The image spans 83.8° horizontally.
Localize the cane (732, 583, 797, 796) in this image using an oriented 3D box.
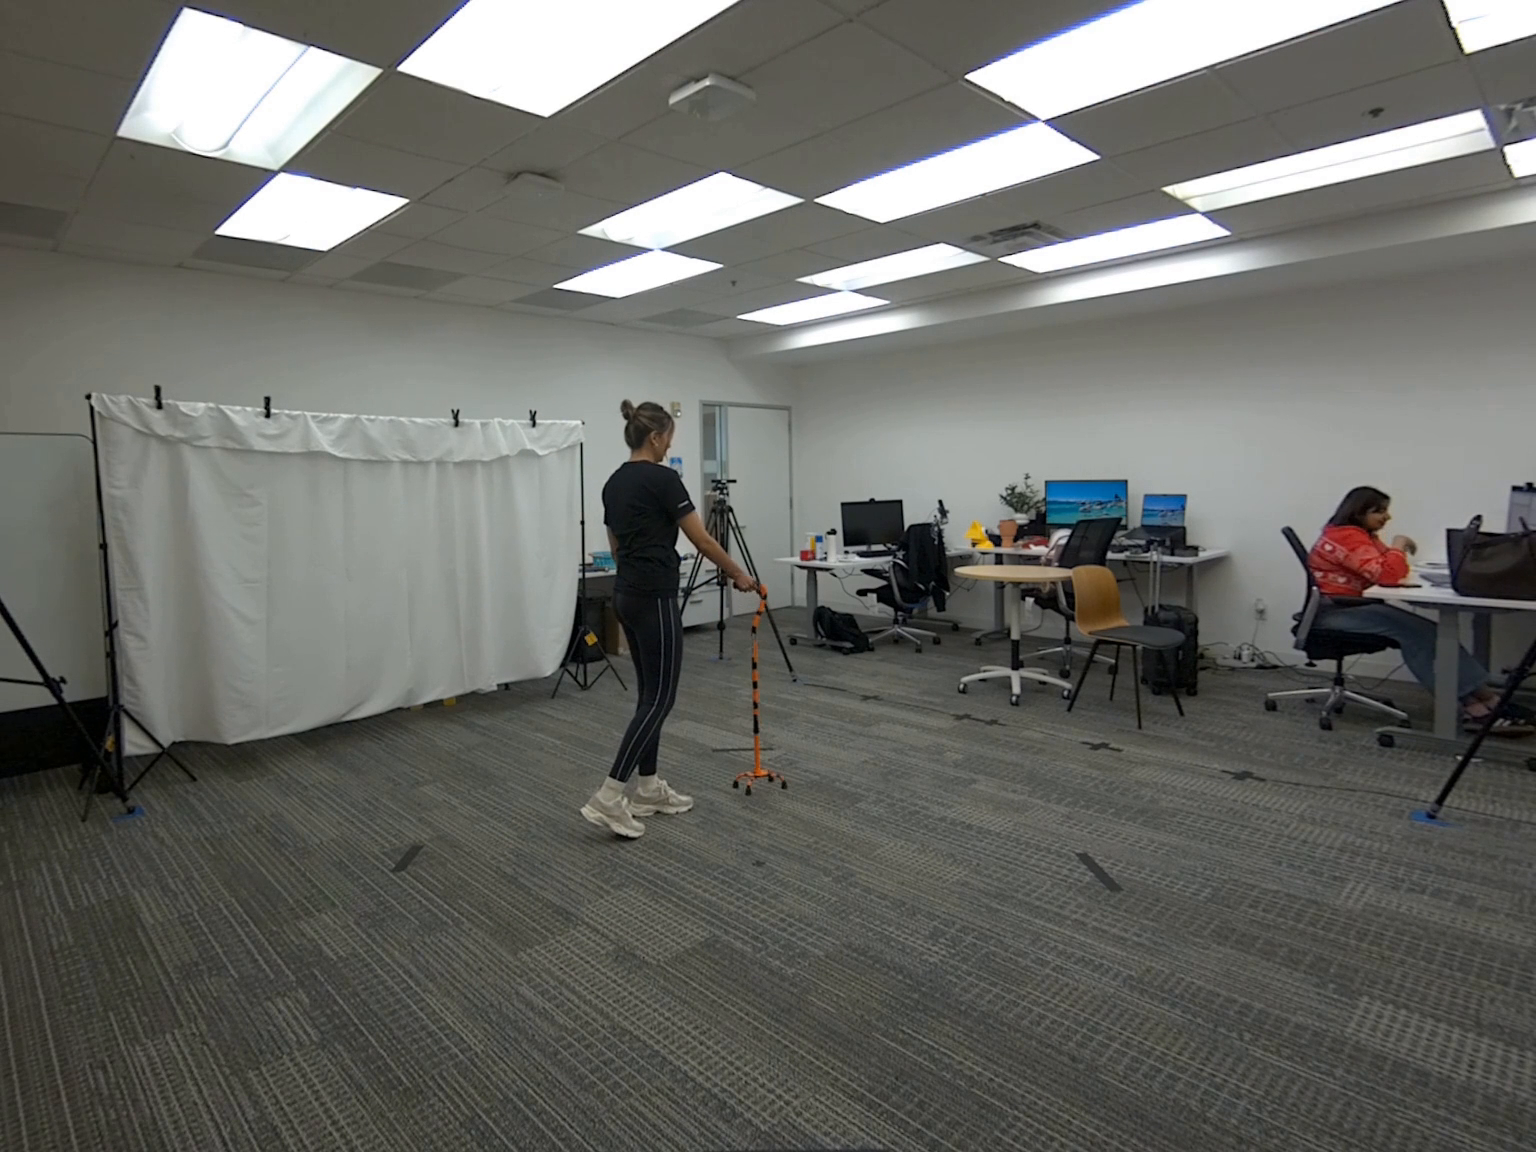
[{"bbox_3d":[-0.044,0.471,3.741,0.202,0.907,0.155,-1,1,-25],"label":"cane"}]
